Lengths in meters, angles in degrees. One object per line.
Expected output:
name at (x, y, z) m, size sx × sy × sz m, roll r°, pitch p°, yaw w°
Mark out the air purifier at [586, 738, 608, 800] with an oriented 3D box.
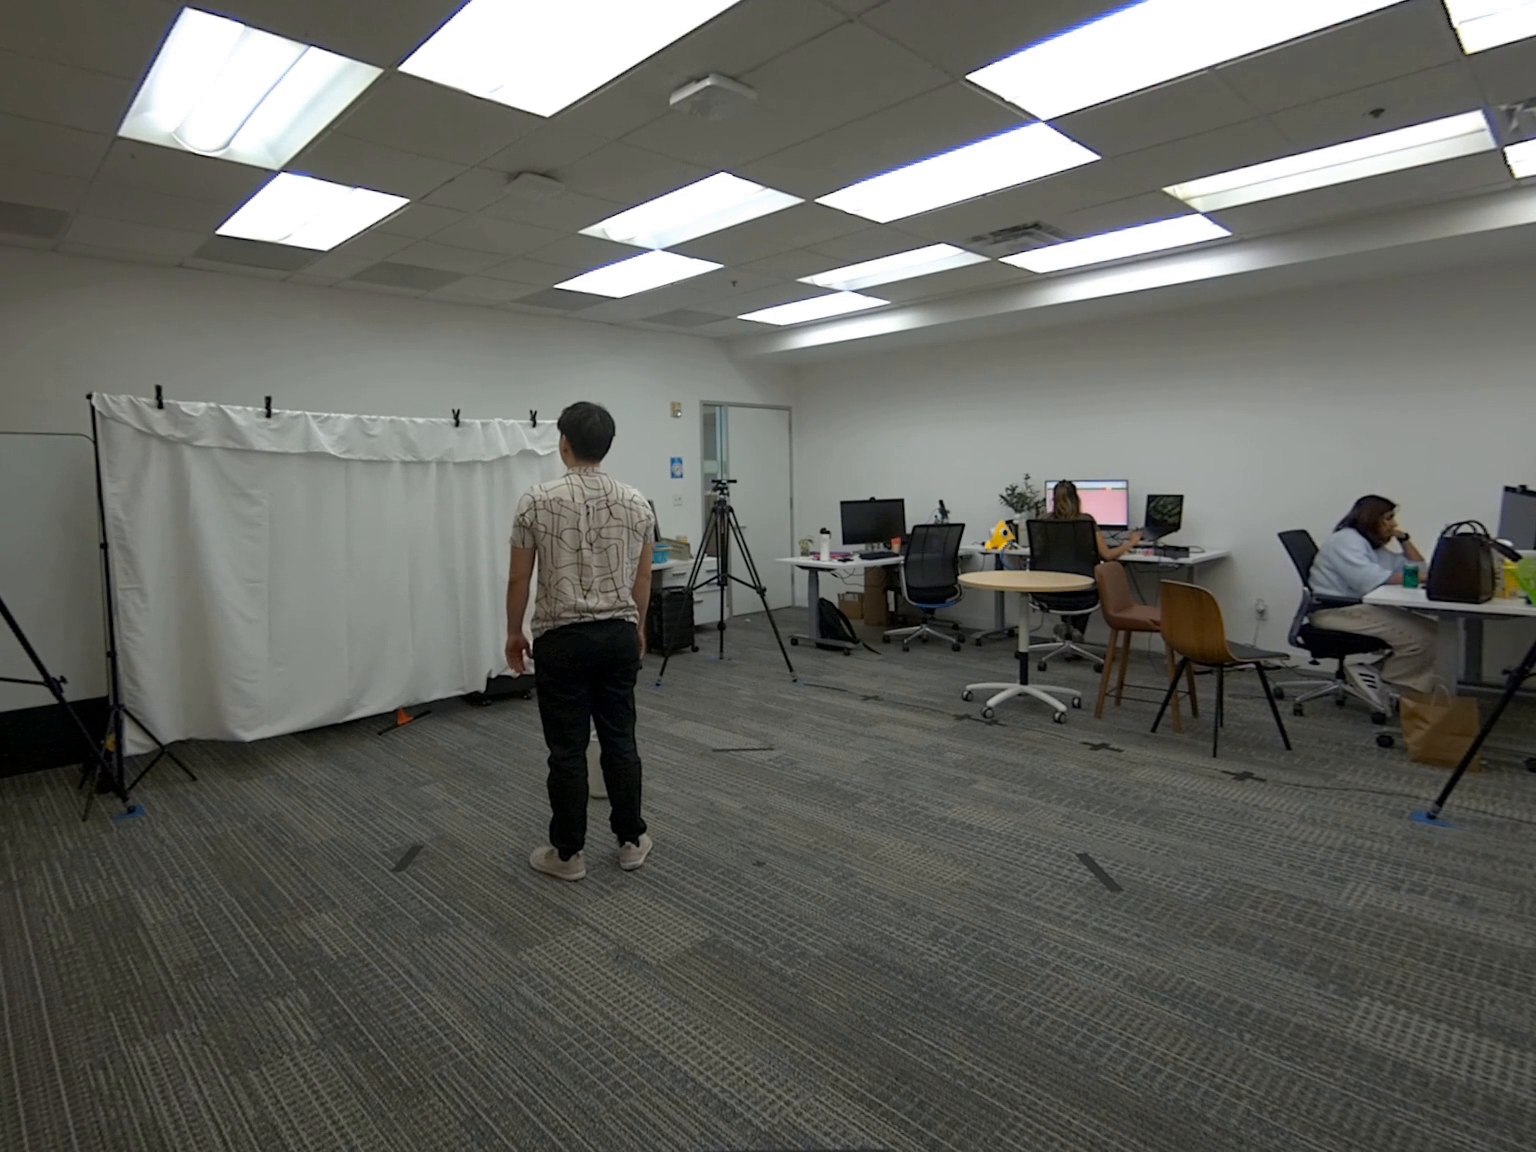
air purifier at (-0.722, 0.845, 3.858) m, size 0.171 × 0.265 × 0.172 m, roll -1°, pitch 3°, yaw -3°
